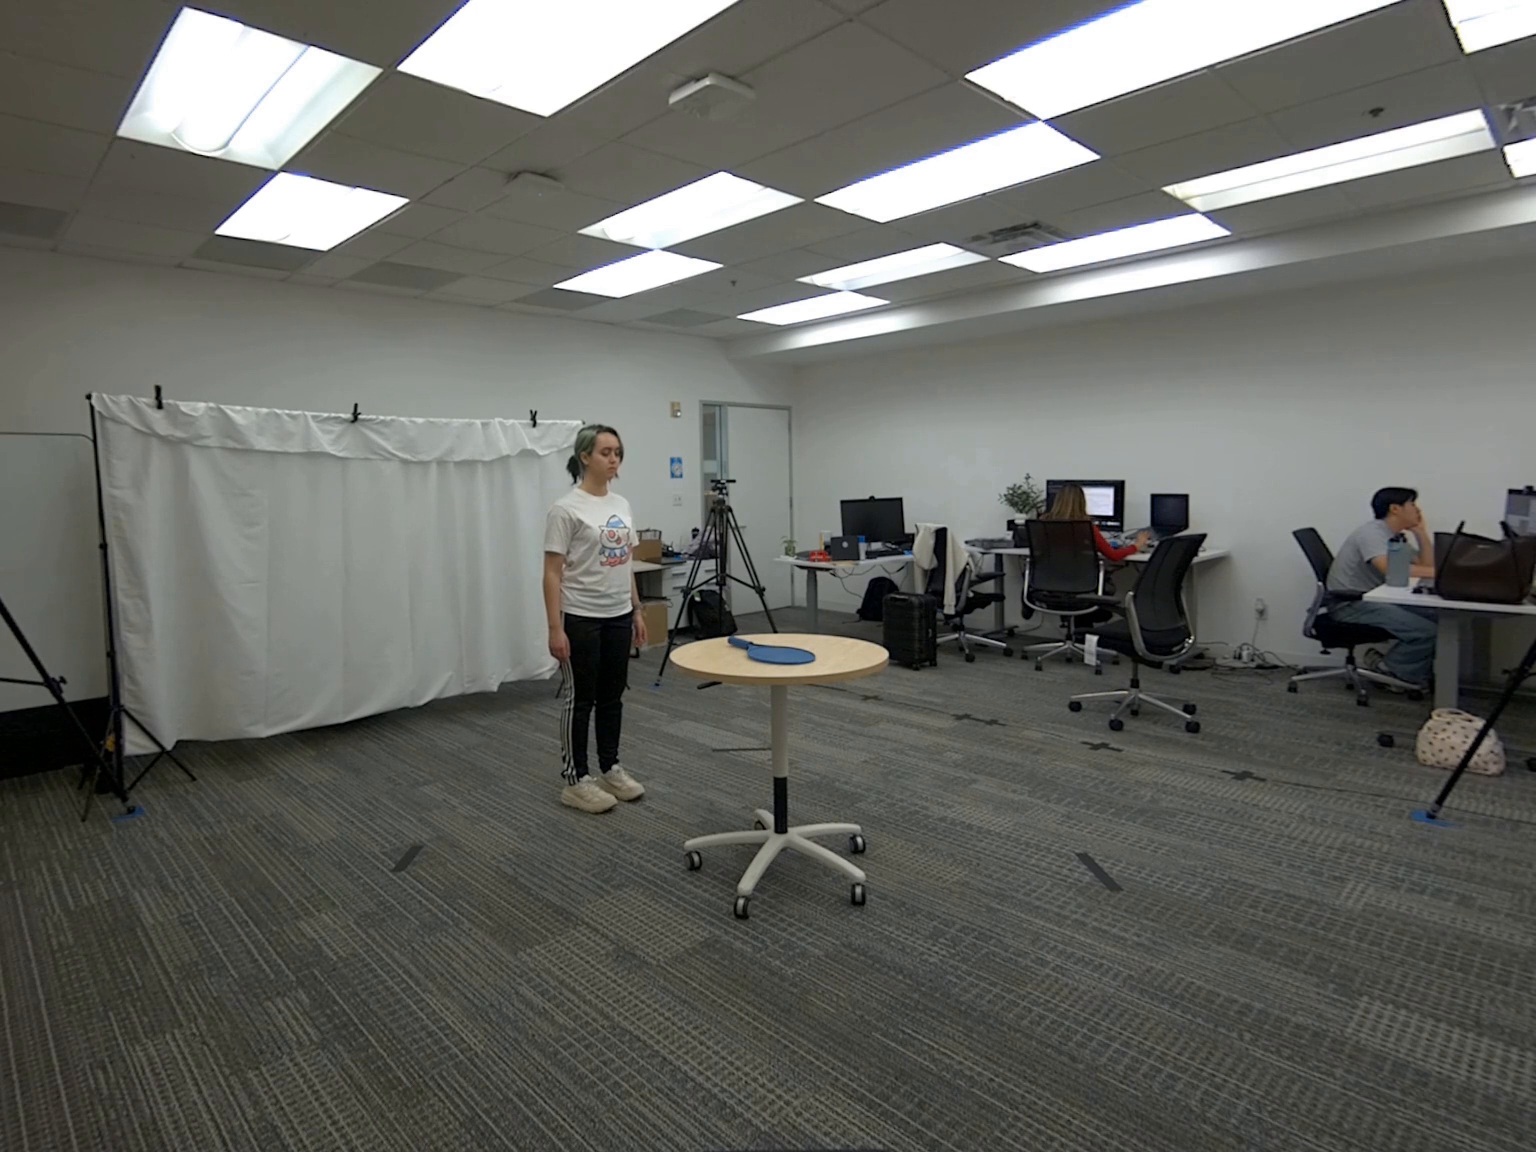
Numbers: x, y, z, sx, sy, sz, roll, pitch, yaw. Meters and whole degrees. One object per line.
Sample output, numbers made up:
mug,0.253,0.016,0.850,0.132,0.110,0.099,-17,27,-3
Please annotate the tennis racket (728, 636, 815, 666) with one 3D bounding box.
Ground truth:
tennis racket,-0.002,0.266,2.991,0.208,0.031,0.446,-4,8,-33
